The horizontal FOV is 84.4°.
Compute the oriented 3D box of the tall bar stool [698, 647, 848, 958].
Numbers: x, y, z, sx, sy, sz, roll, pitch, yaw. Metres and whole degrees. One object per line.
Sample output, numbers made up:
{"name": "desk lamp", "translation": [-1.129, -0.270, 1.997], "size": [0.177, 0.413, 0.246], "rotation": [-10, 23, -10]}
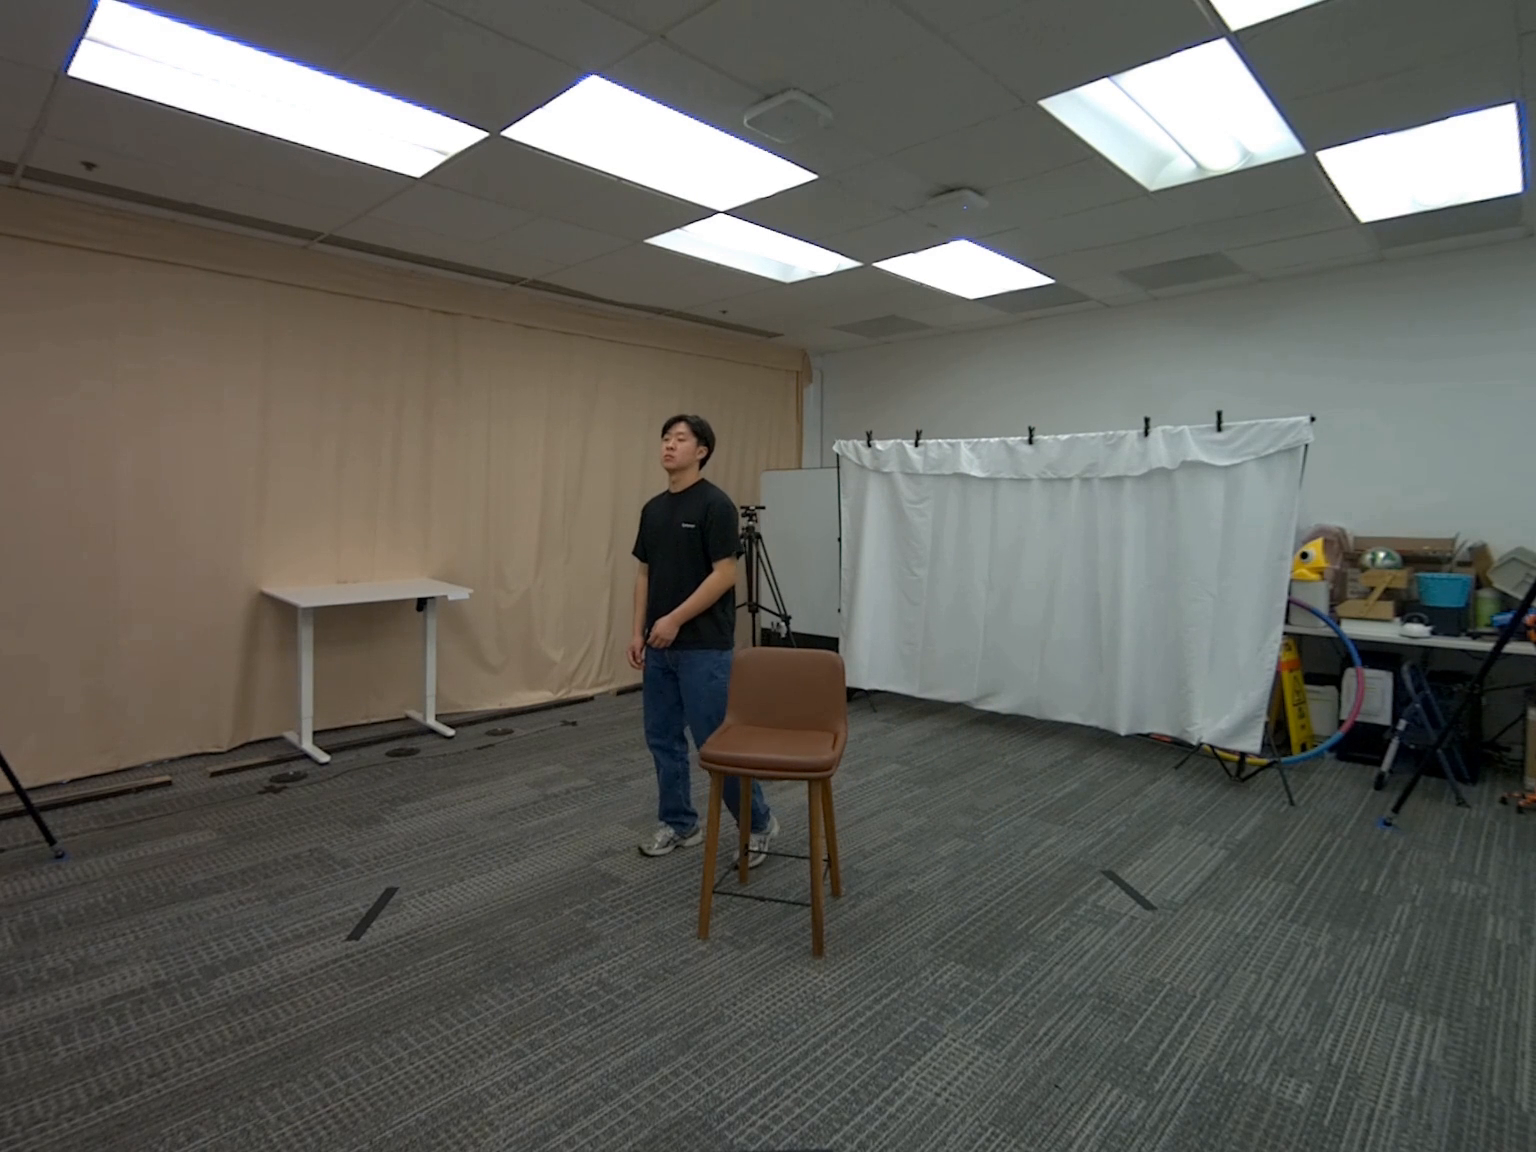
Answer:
{"name": "tall bar stool", "translation": [0.035, 0.723, 2.841], "size": [0.466, 0.888, 0.459], "rotation": [2, 2, 18]}
